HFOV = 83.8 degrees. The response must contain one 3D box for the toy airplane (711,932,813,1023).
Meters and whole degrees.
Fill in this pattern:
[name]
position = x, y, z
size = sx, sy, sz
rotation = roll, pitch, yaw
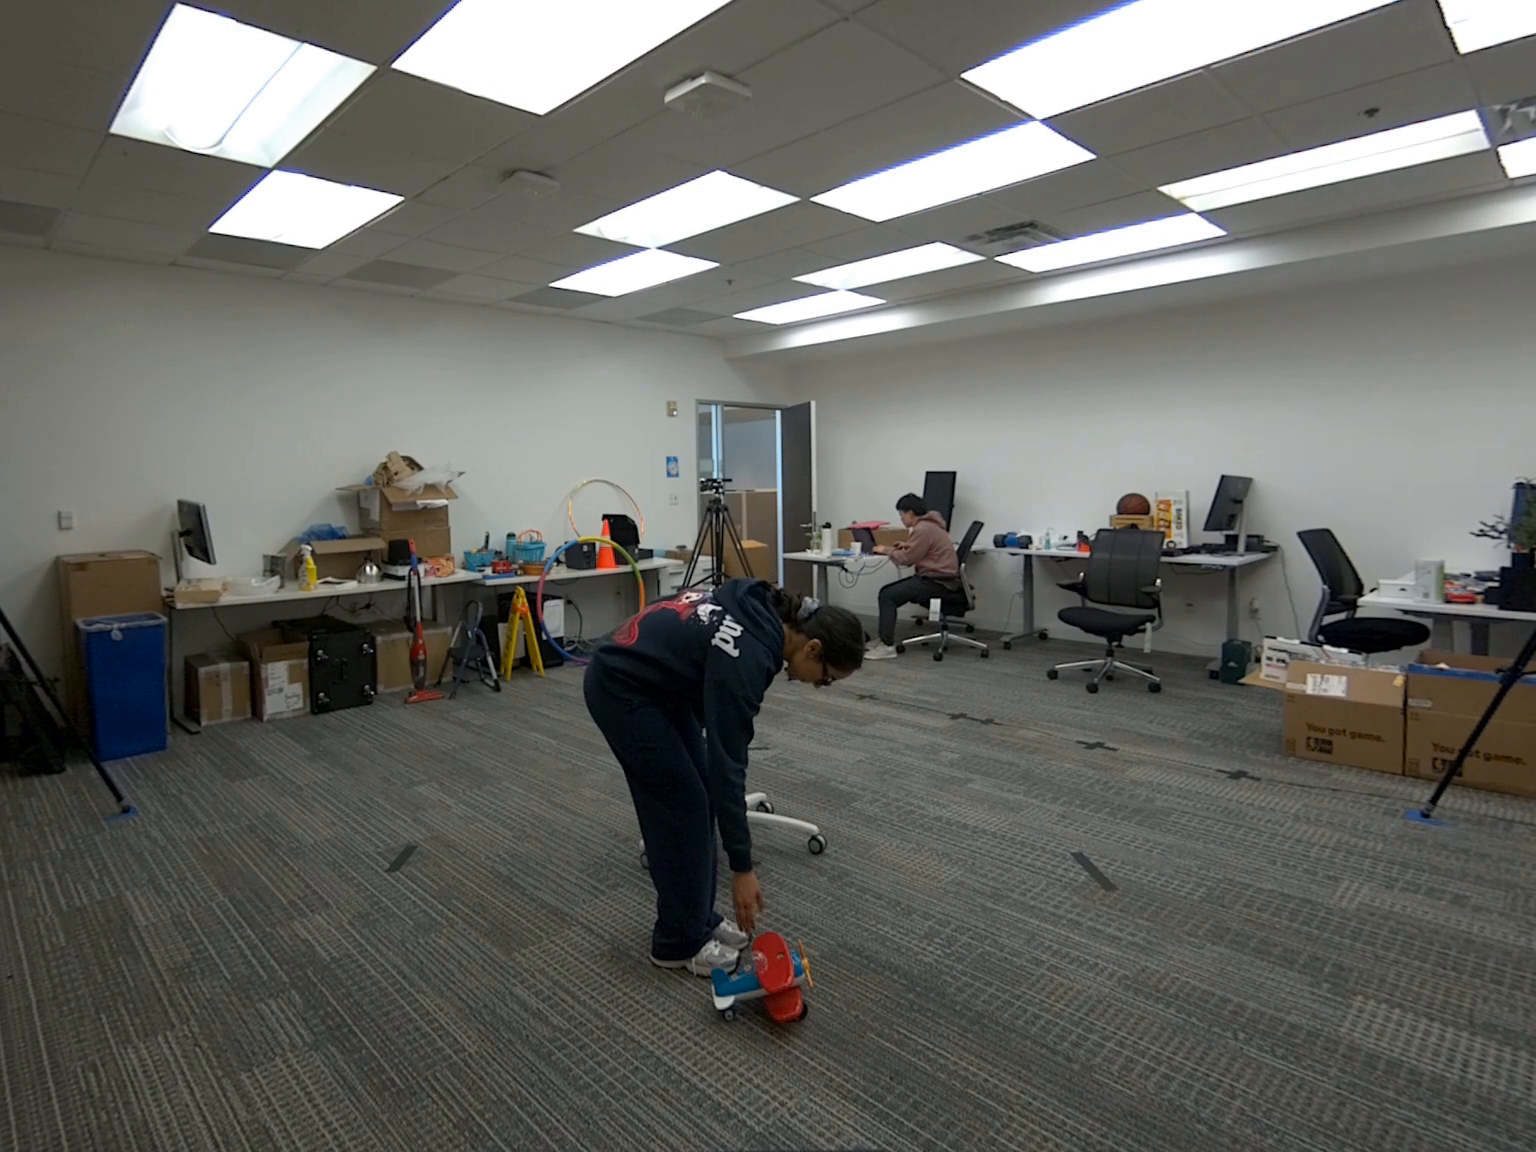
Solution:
[toy airplane]
position = -0.007, 1.075, 2.218
size = 0.253, 0.156, 0.258
rotation = -6, 6, -36
